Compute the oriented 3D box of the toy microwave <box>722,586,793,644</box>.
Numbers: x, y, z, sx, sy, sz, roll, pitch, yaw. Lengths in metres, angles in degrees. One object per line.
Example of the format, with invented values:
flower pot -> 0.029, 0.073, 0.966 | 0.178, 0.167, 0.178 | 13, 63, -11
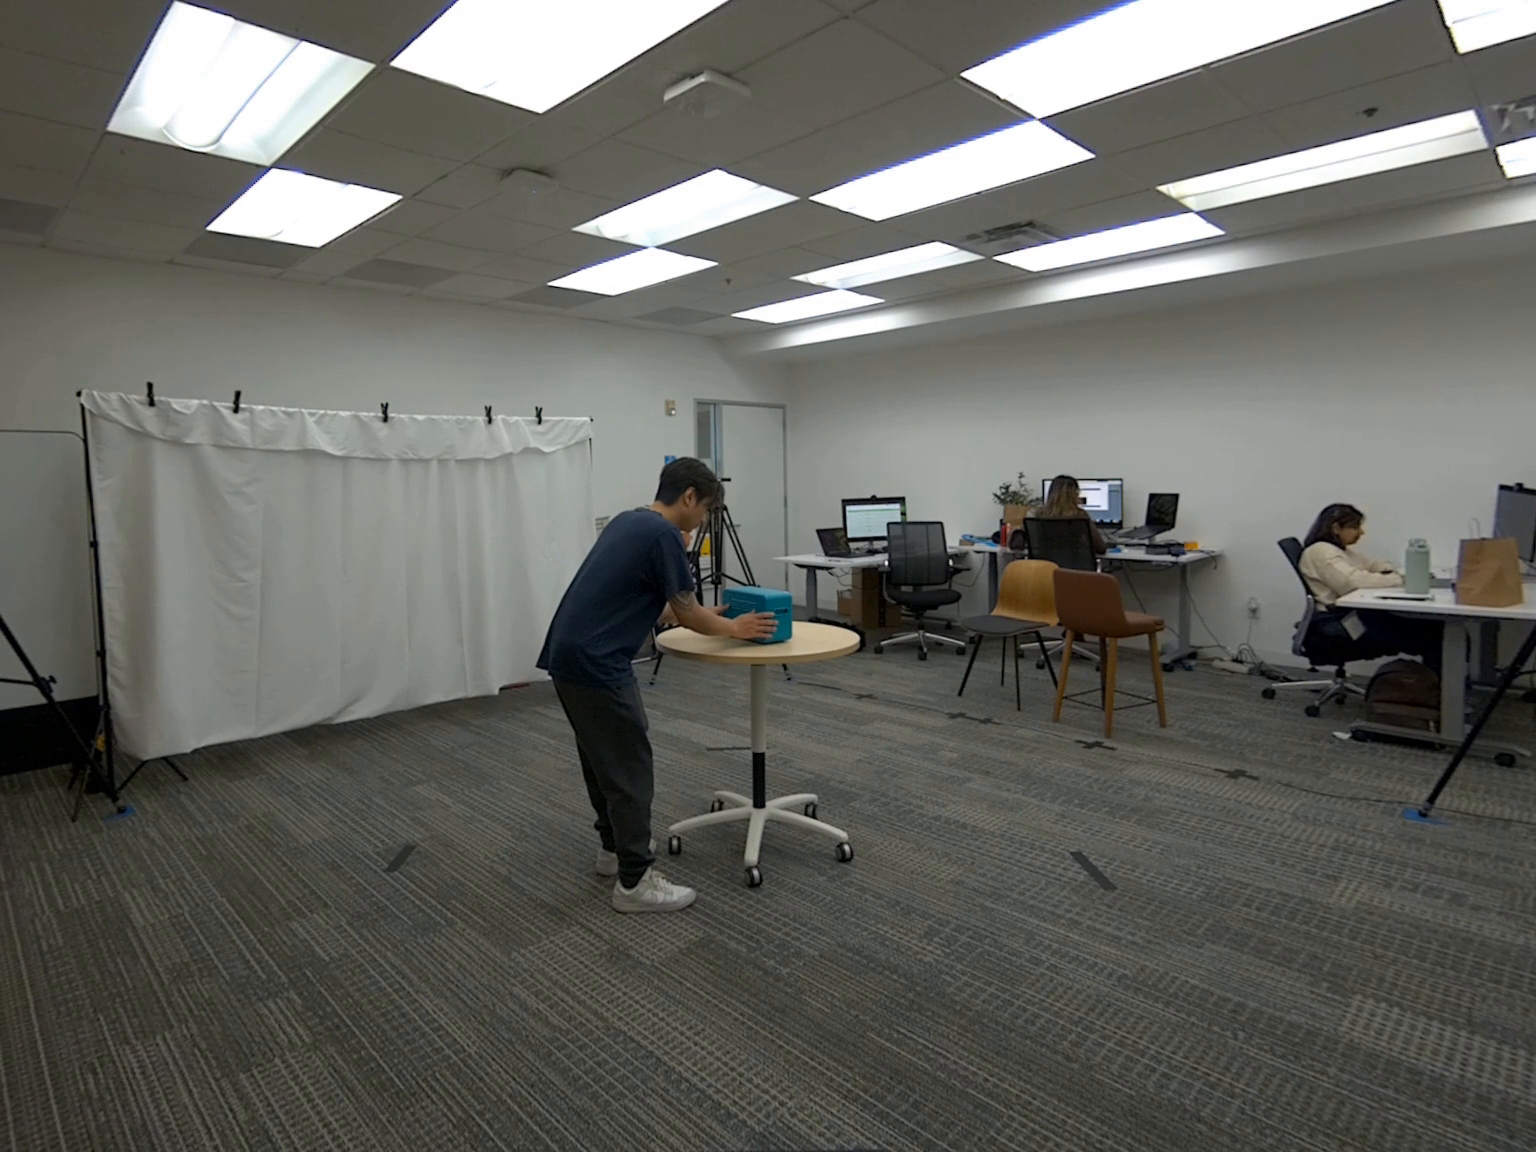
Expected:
toy microwave -> -0.038, 0.141, 3.186 | 0.148, 0.183, 0.295 | -3, 6, -35
